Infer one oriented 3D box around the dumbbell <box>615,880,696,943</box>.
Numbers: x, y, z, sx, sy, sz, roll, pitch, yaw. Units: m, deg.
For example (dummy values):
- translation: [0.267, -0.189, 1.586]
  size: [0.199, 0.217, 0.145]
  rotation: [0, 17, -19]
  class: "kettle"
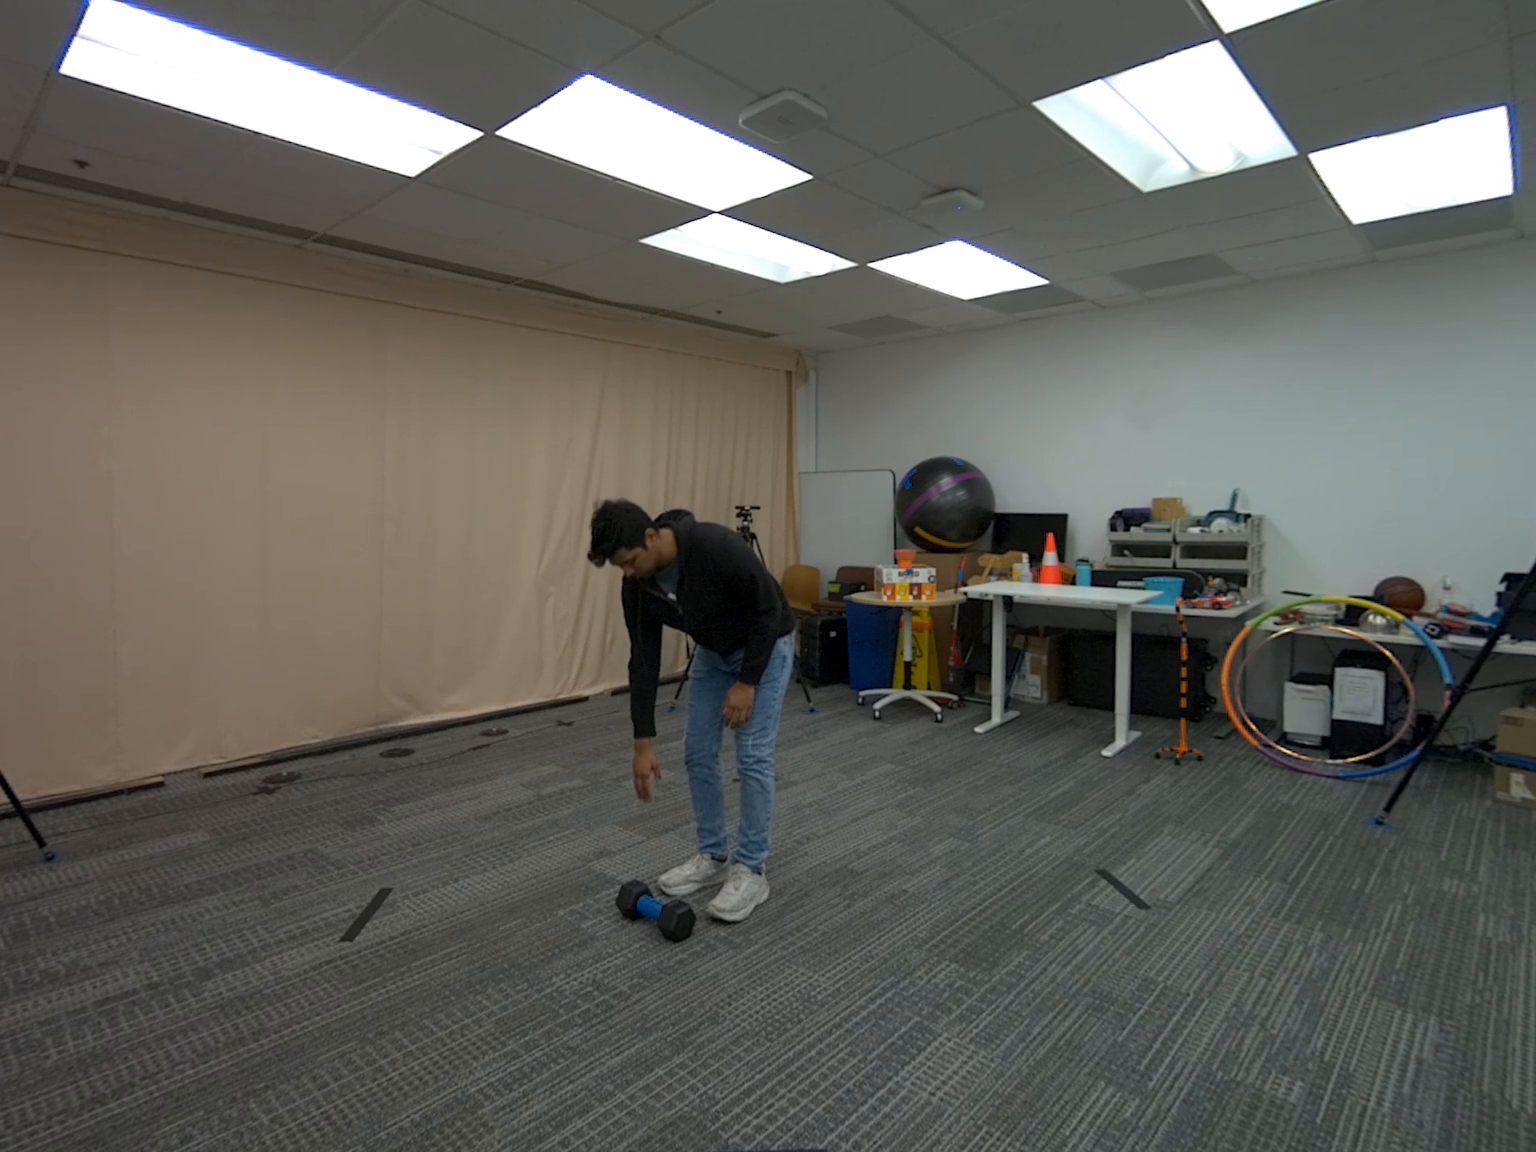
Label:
- translation: [-0.372, 1.108, 2.792]
  size: [0.303, 0.108, 0.119]
  rotation: [3, 5, 43]
  class: "dumbbell"
